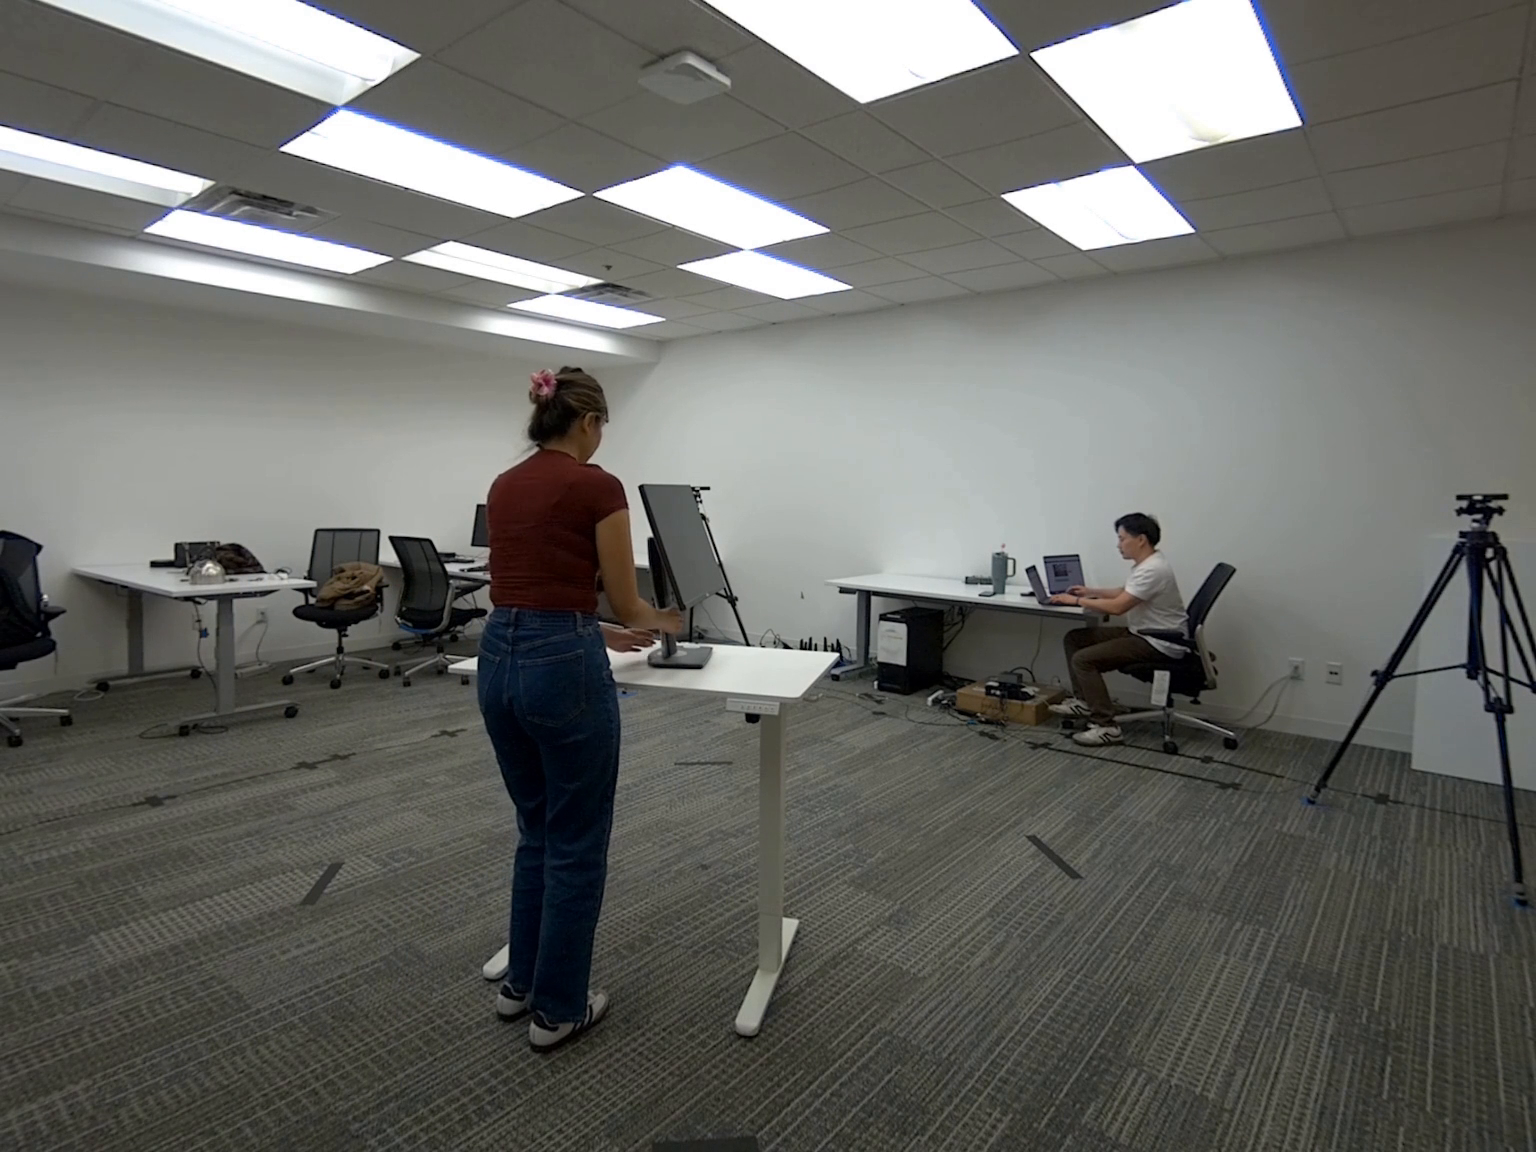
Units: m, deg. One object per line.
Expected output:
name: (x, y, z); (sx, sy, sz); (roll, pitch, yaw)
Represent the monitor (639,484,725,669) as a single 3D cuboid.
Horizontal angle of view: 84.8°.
monitor: (-0.279, -0.009, 2.506); (0.189, 0.521, 0.536); (-3, 4, 7)
